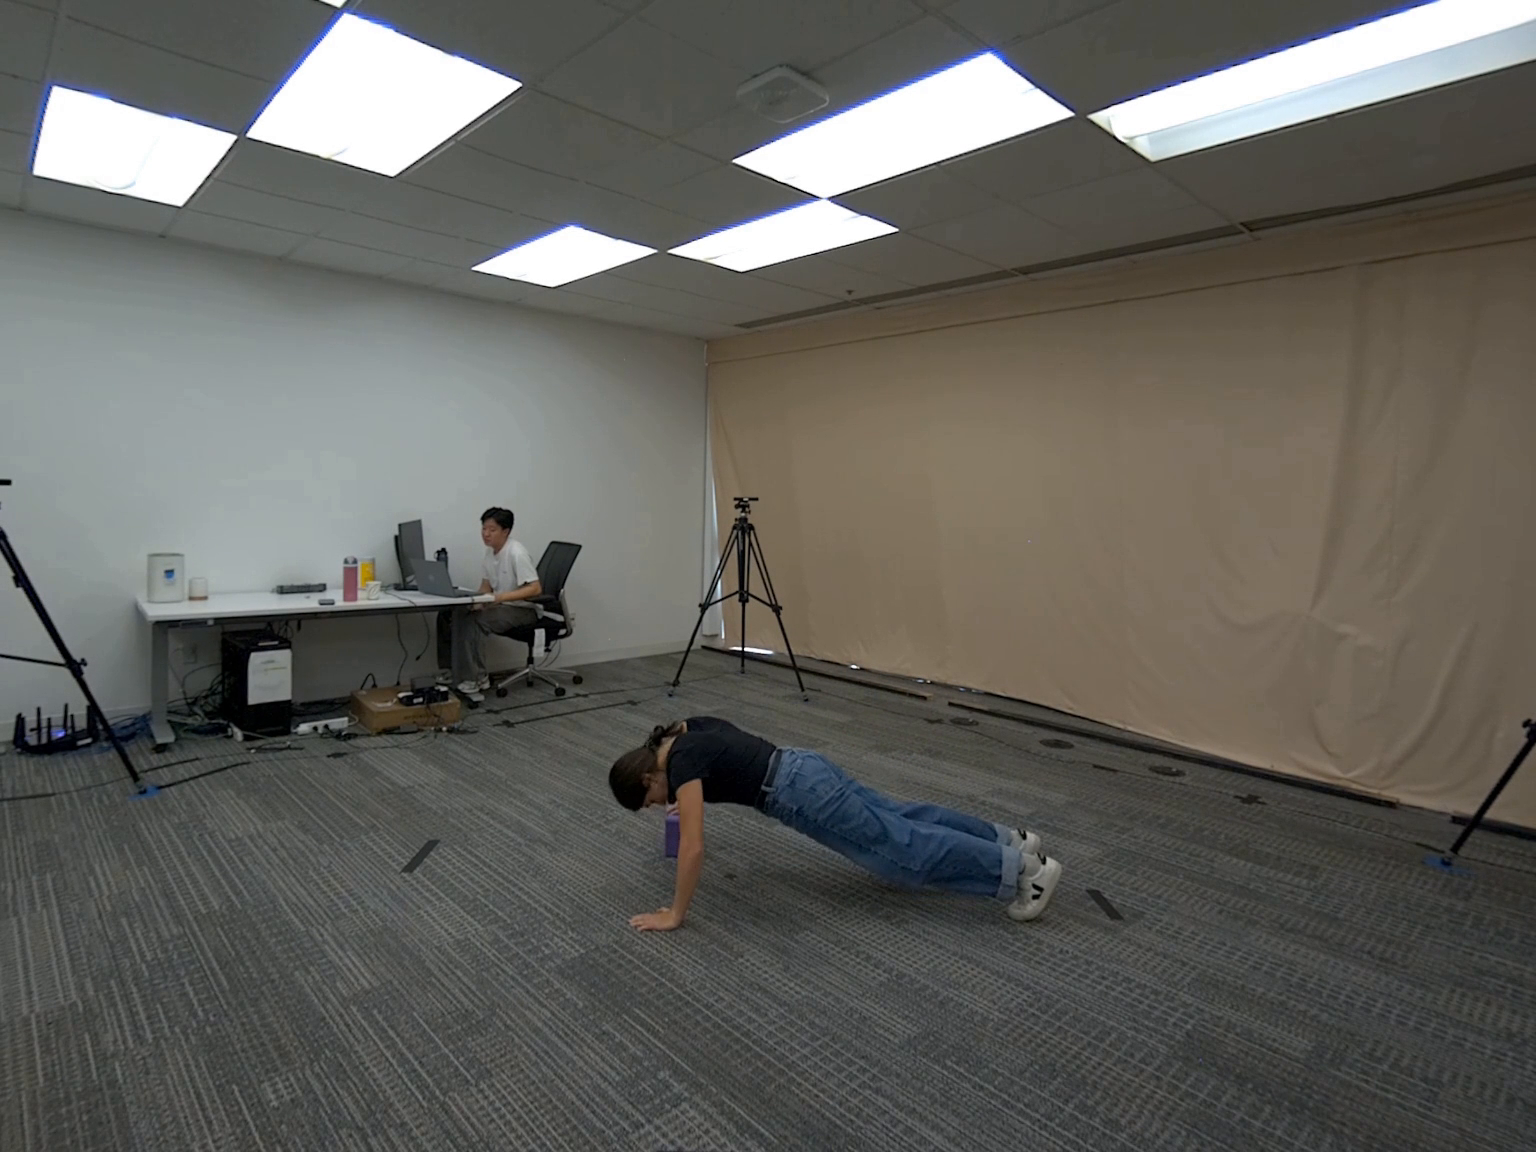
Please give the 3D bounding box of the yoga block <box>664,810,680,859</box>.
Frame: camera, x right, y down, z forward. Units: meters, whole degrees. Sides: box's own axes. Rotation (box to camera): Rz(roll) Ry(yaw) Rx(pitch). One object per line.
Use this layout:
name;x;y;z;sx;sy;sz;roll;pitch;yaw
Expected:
yoga block;-0.356;1.015;3.358;0.077;0.148;0.229;3;6;5
